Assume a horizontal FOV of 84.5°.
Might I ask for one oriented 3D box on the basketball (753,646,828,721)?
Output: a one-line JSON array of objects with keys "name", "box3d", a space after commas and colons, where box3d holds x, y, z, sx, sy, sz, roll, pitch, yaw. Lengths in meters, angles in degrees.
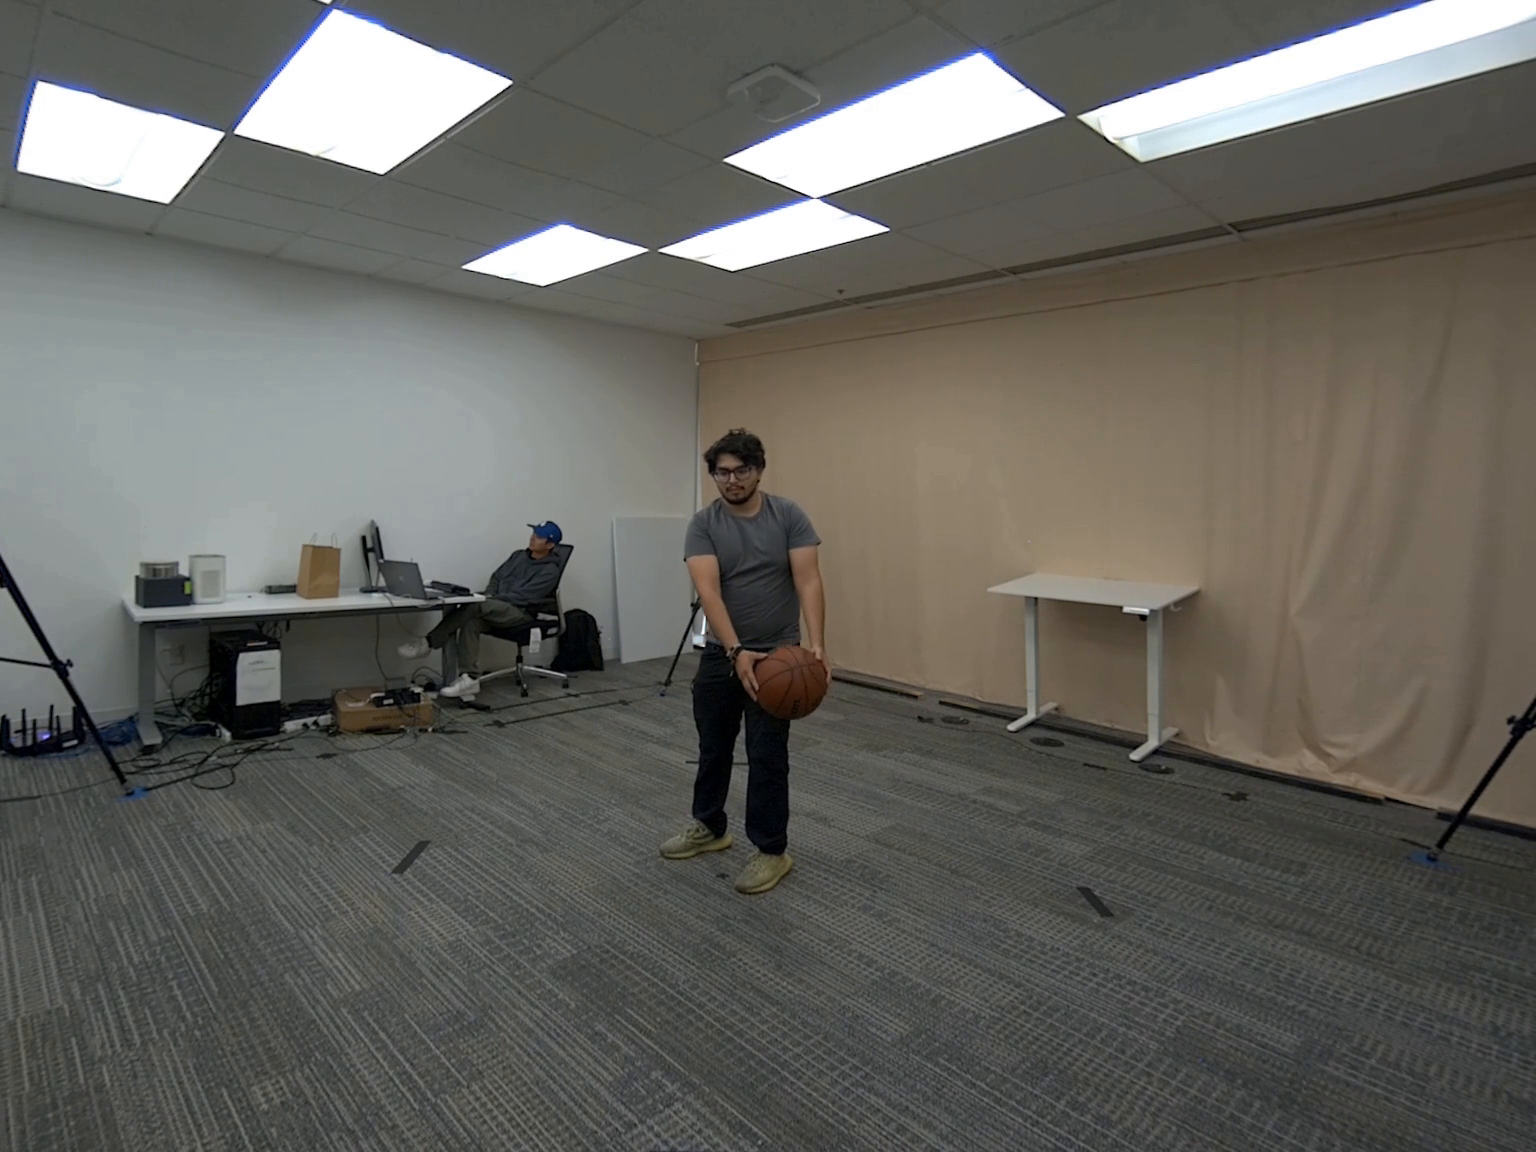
[{"name": "basketball", "box3d": [0.064, 0.345, 2.716, 0.236, 0.235, 0.237, 1, 4, -1]}]
